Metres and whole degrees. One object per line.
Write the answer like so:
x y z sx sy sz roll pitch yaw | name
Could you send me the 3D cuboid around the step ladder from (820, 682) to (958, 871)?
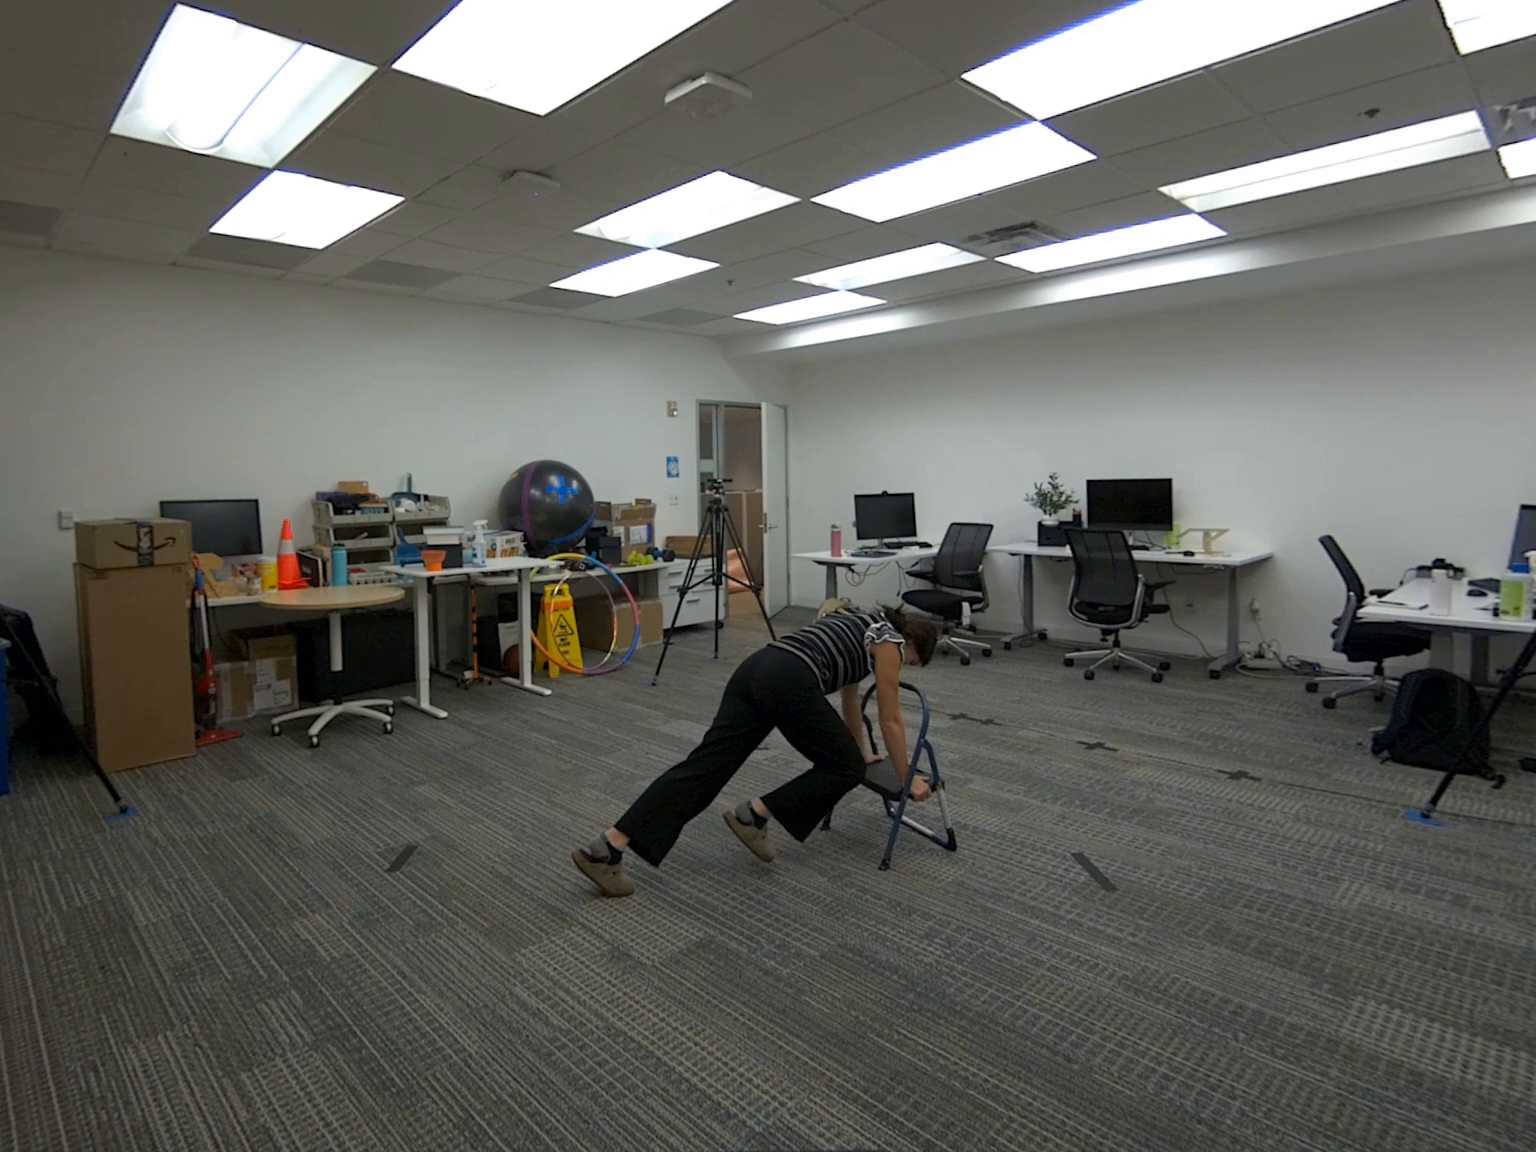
0.457 0.716 3.281 0.341 0.604 0.442 -2 5 -28 | step ladder
